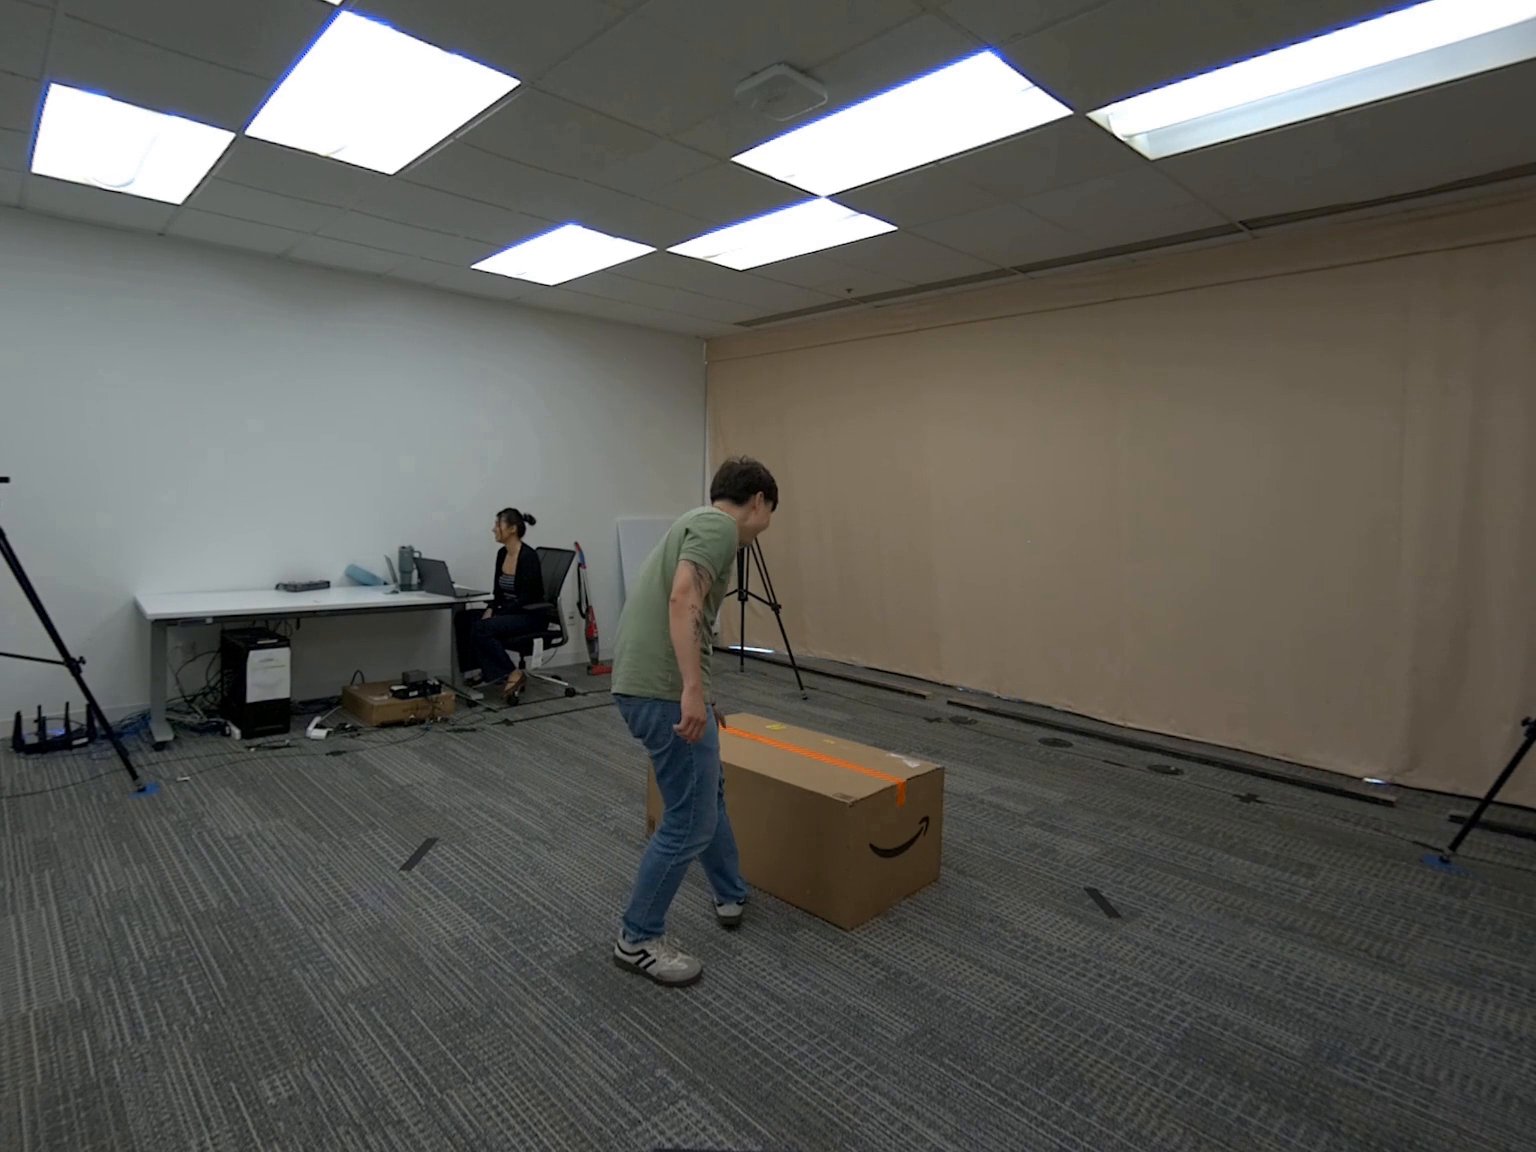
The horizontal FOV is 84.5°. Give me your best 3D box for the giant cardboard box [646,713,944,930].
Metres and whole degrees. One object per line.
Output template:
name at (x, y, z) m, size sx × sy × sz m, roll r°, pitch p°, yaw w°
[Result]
giant cardboard box at (0.071, 0.880, 3.259) m, size 1.052 × 0.425 × 0.564 m, roll 6°, pitch 6°, yaw 44°
